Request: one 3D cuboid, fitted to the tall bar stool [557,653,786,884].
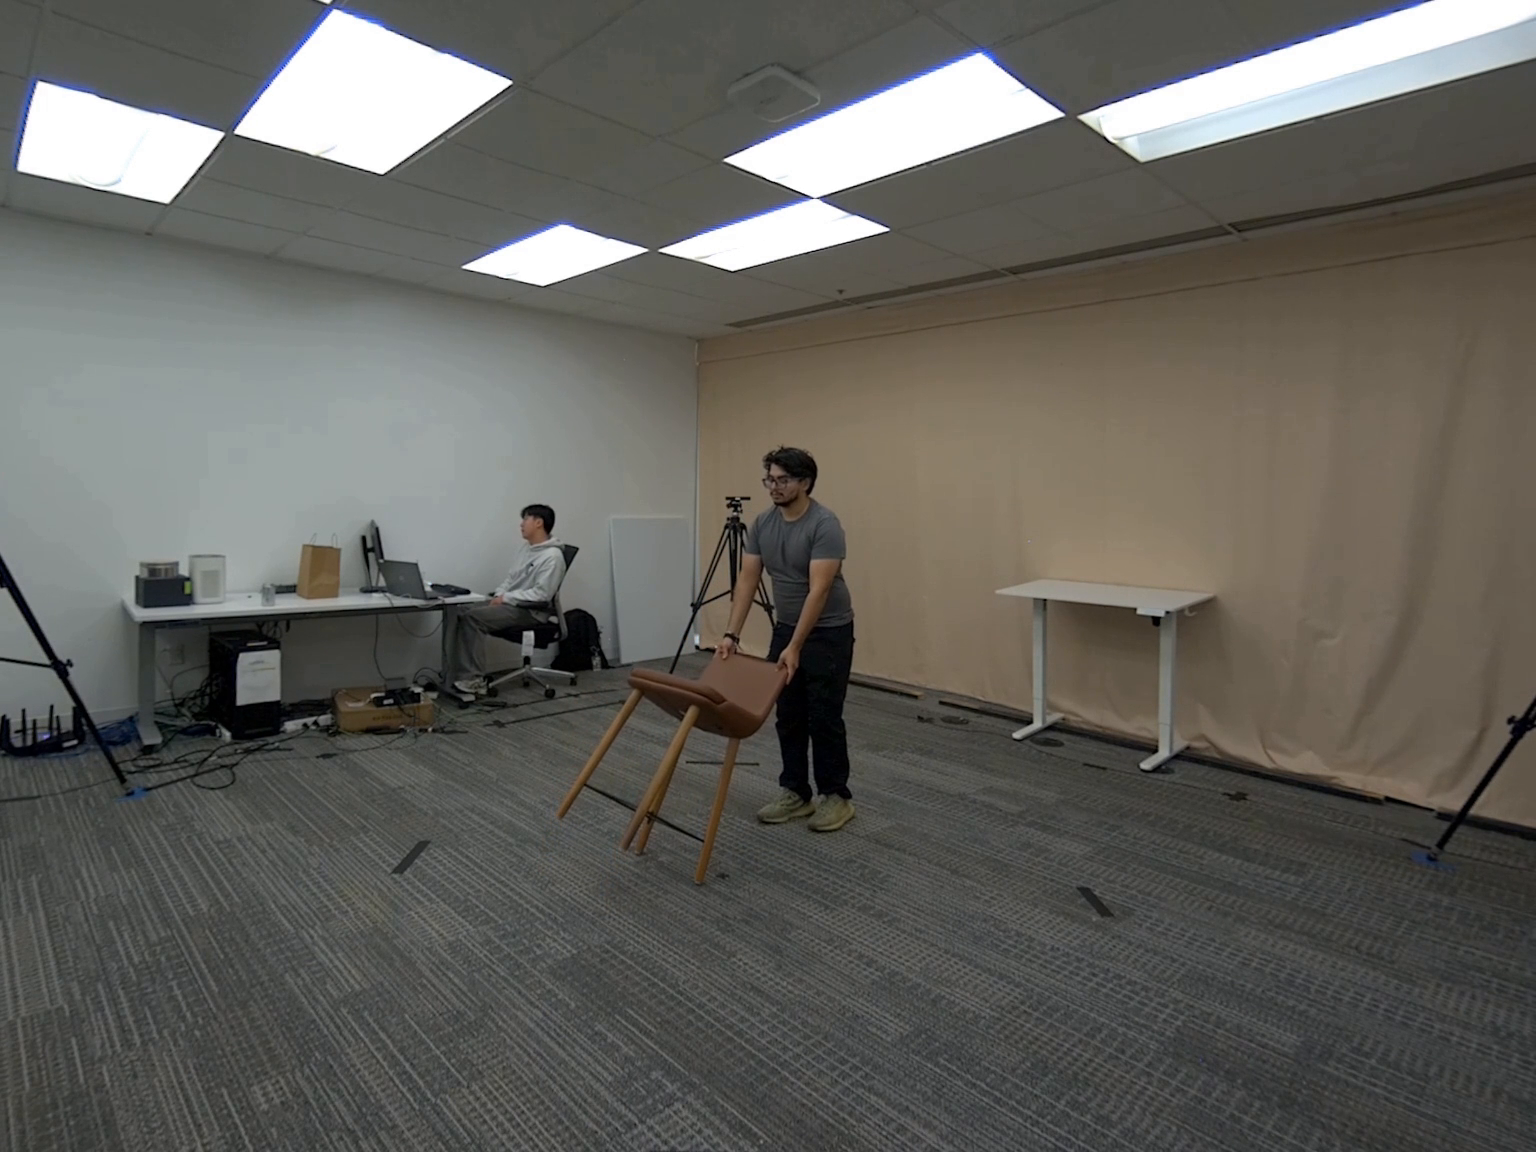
[{"bbox_3d":[-0.331,0.614,3.173,0.468,0.895,0.453,4,-30,44],"label":"tall bar stool"}]
